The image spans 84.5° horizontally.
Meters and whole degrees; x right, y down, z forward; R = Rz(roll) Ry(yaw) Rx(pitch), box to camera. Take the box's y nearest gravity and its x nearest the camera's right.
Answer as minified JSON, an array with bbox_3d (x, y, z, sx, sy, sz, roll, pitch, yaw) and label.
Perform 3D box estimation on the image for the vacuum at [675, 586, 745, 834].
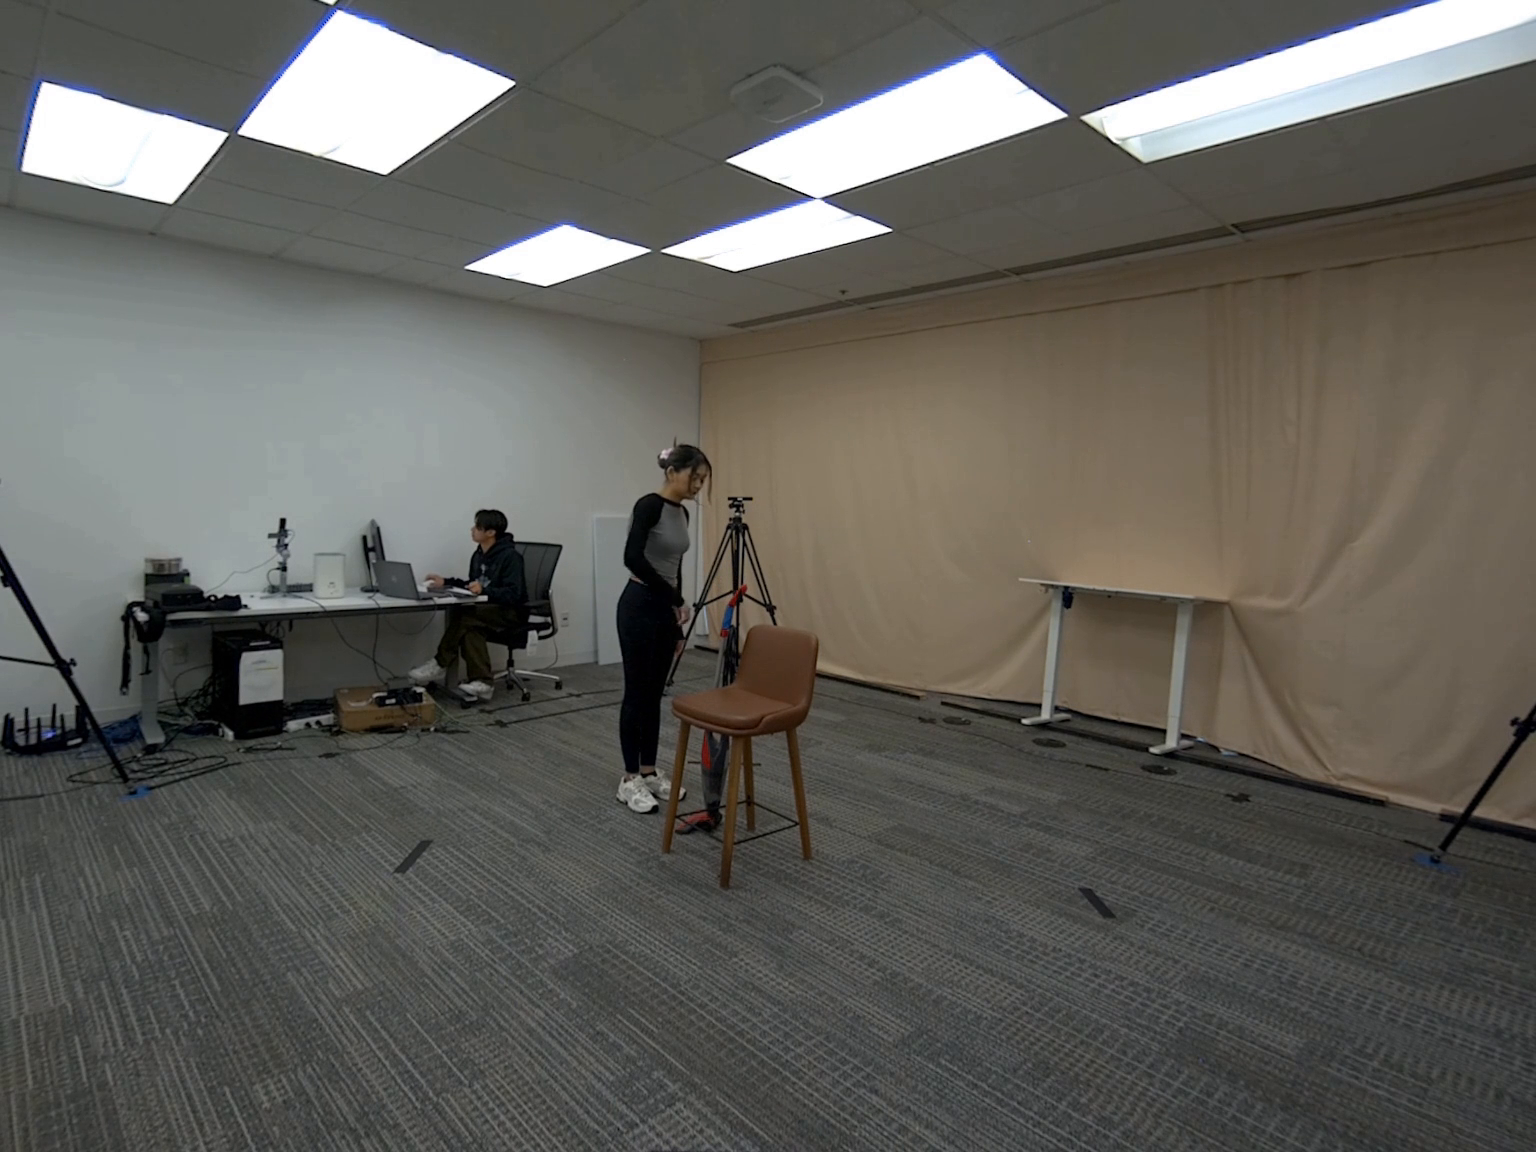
[{"bbox_3d":[-0.212,0.552,3.532,0.141,1.043,0.259,-4,10,-41],"label":"vacuum"}]
